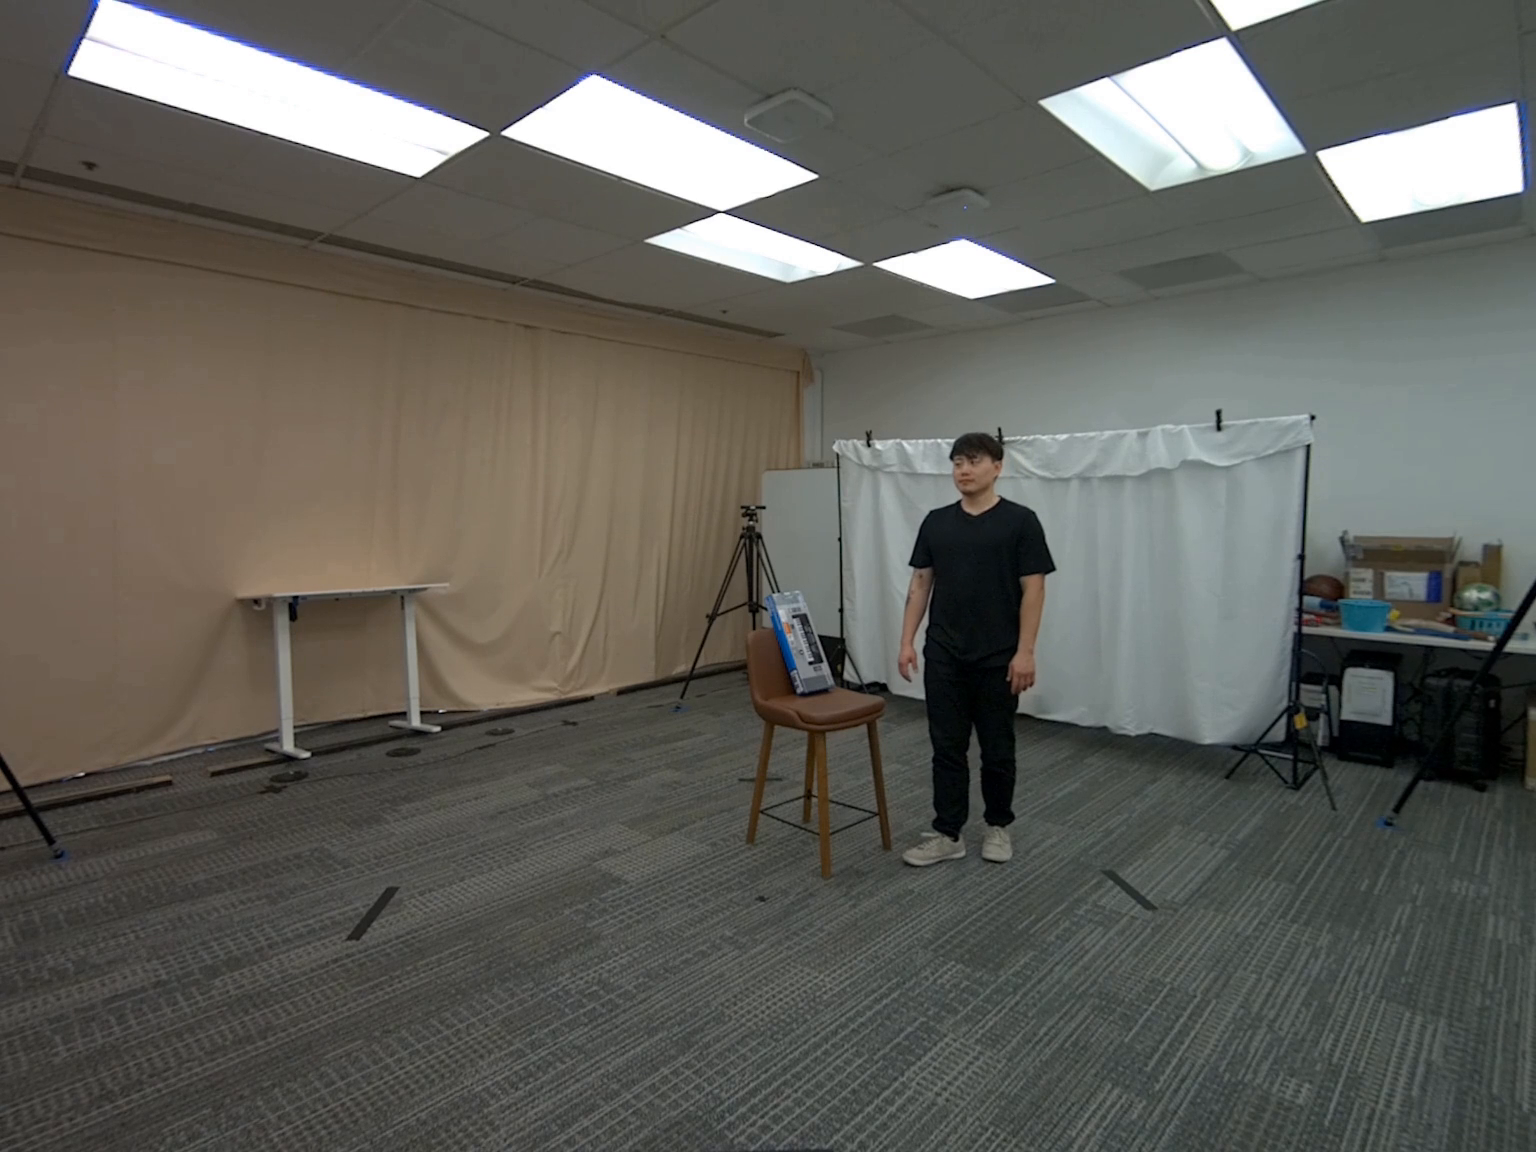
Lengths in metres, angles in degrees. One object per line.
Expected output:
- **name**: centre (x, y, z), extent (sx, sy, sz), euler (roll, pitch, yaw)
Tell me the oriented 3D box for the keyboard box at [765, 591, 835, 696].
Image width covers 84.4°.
- **keyboard box**: centre (0.138, 0.283, 3.569), extent (0.171, 0.444, 0.060), euler (-5, -24, -36)
